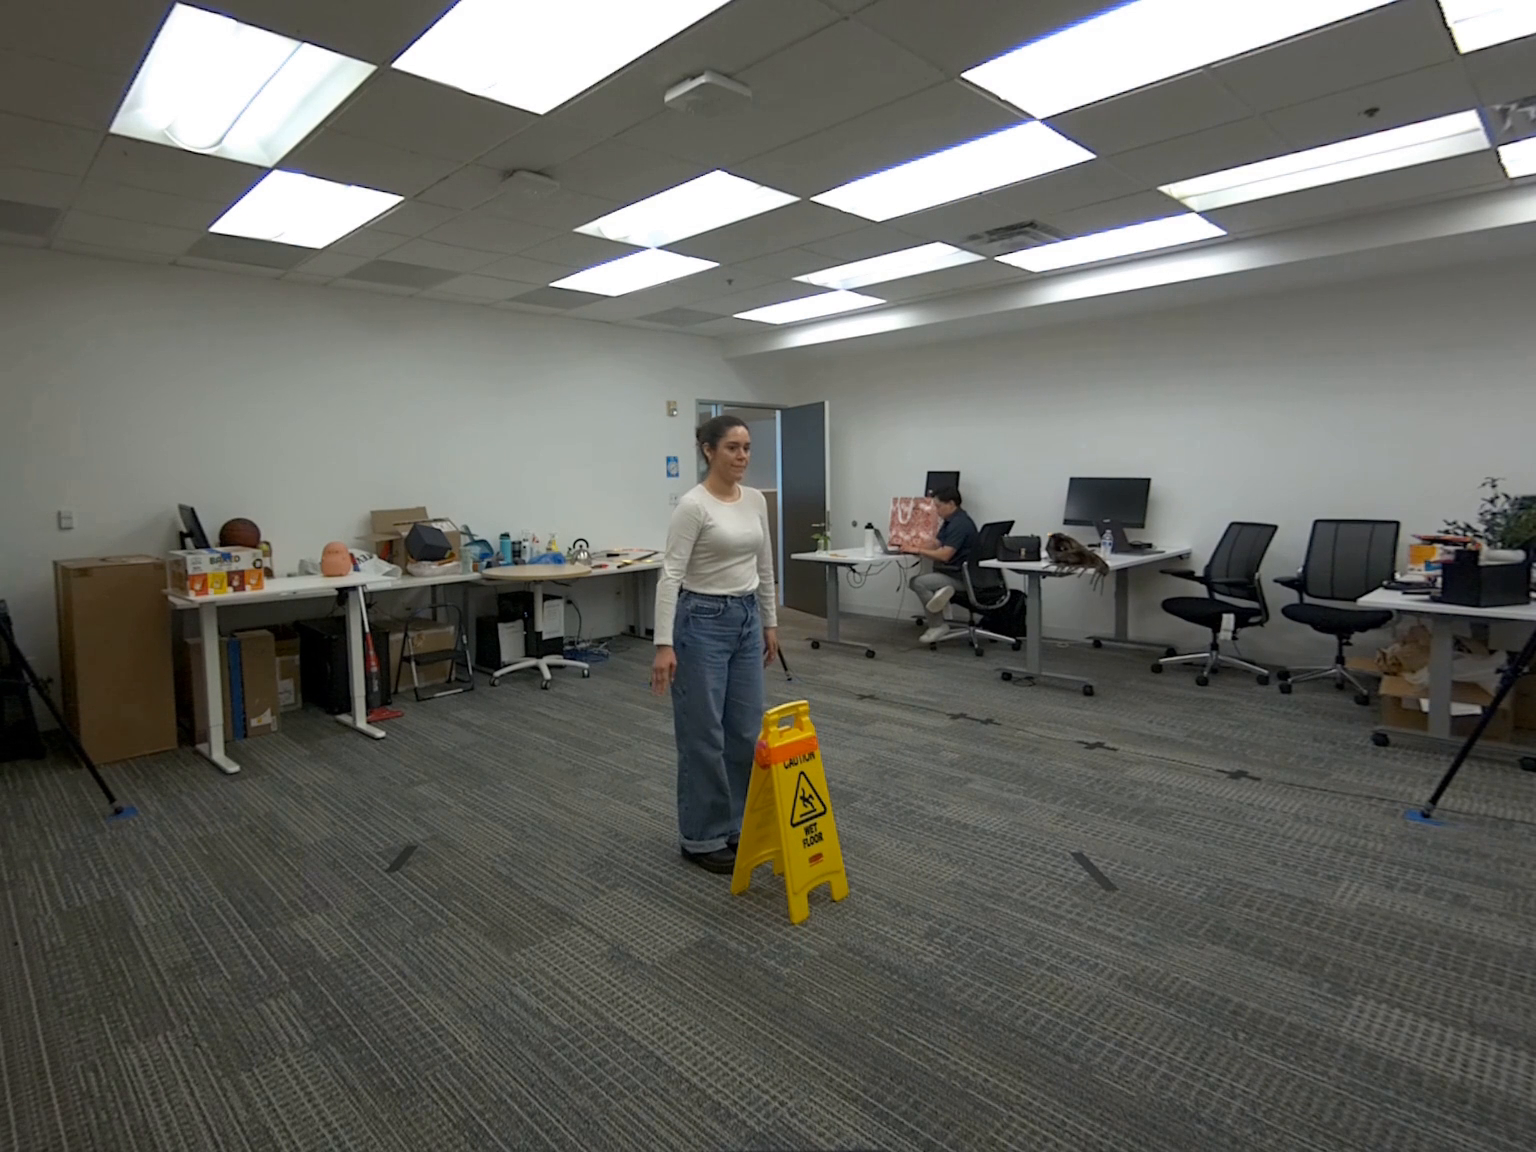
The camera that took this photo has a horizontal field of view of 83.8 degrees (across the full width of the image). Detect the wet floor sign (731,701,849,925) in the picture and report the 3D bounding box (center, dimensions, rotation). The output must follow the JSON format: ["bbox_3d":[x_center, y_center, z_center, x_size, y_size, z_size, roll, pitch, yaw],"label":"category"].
[{"bbox_3d":[0.074,0.747,2.847,0.299,0.643,0.275,4,7,45],"label":"wet floor sign"}]
